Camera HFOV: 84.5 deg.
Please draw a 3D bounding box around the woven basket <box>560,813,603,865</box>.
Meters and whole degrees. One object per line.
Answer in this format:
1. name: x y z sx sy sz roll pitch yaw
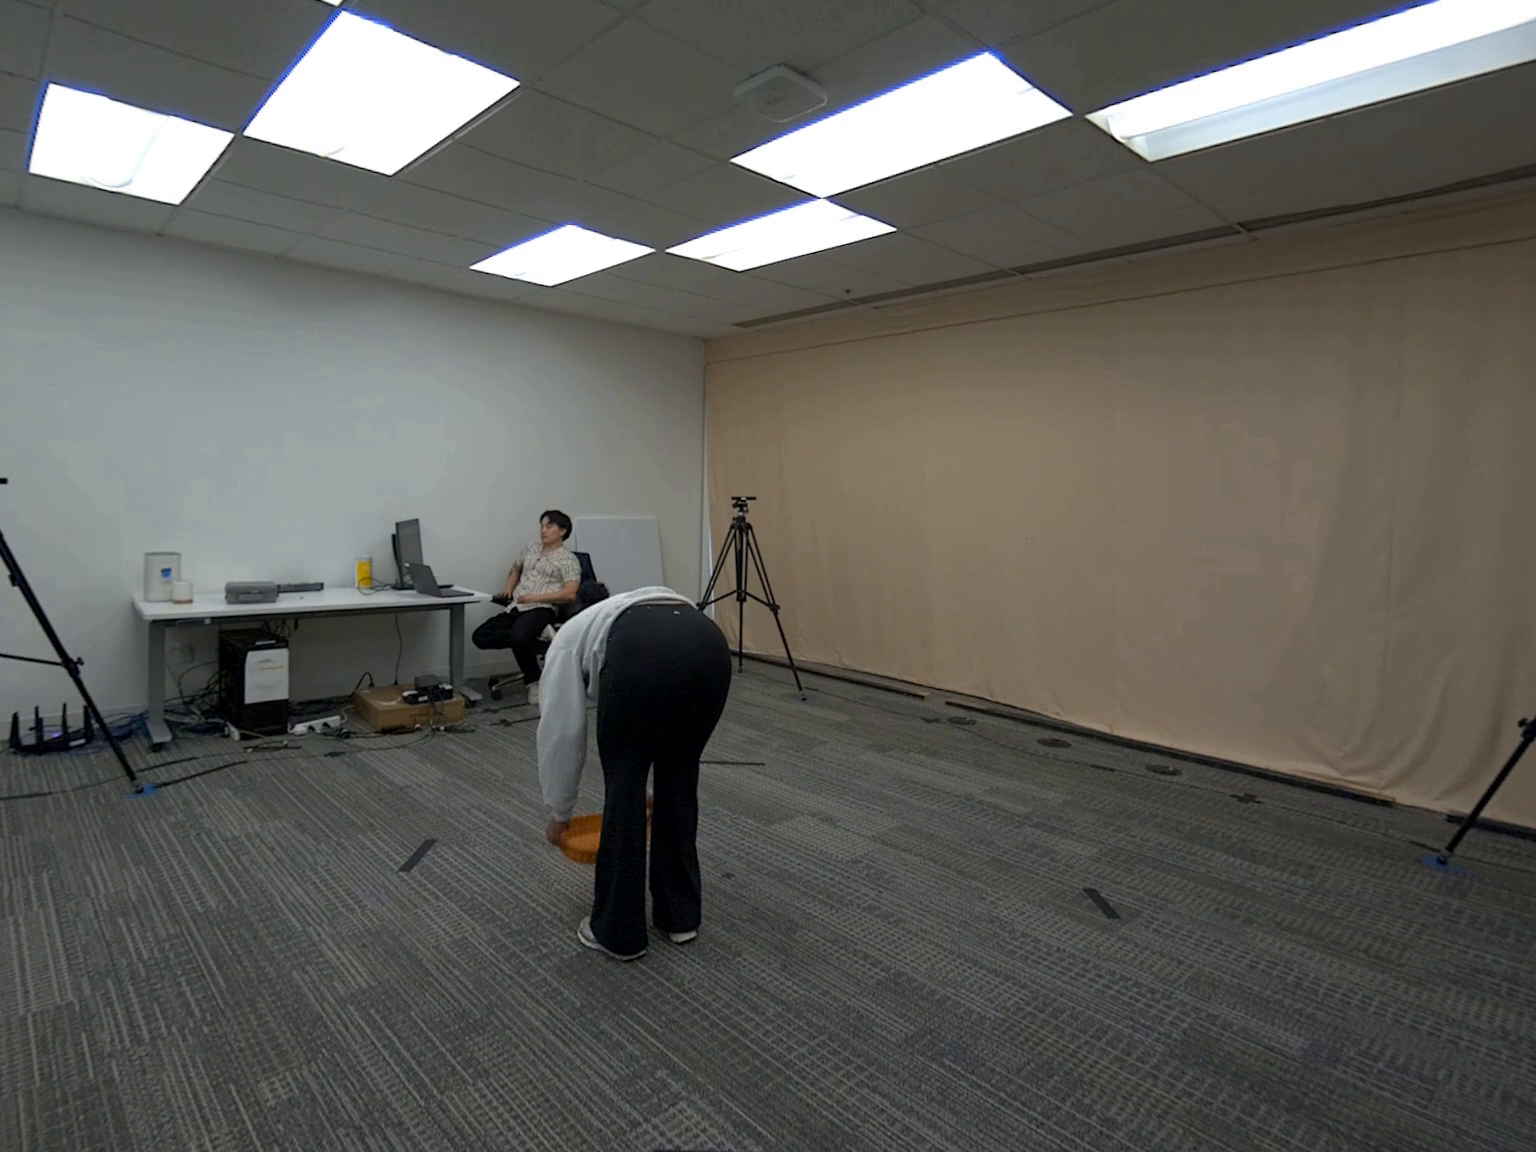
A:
1. woven basket: -0.574 0.891 2.869 0.342 0.073 0.259 2 8 -38
